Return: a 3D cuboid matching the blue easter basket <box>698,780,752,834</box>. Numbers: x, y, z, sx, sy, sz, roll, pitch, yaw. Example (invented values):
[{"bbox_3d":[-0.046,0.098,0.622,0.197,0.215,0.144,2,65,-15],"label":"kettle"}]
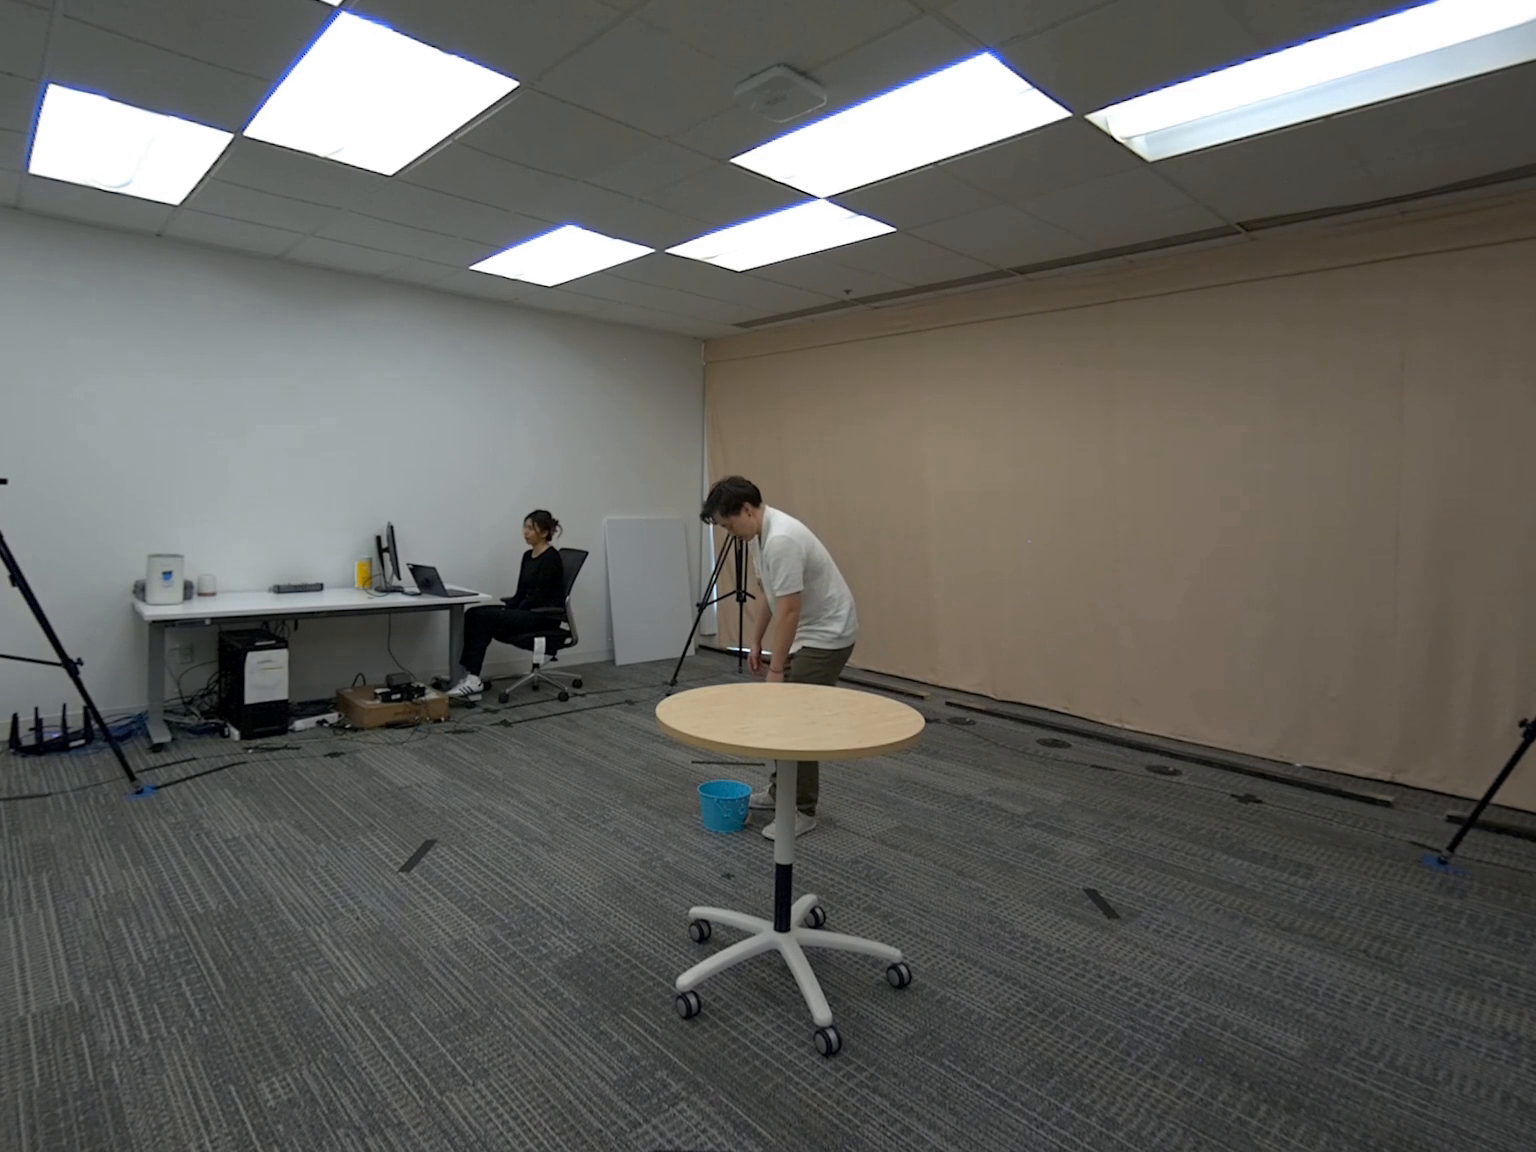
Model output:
[{"bbox_3d":[-0.199,0.987,3.598,0.243,0.155,0.244,1,4,-1],"label":"blue easter basket"}]
